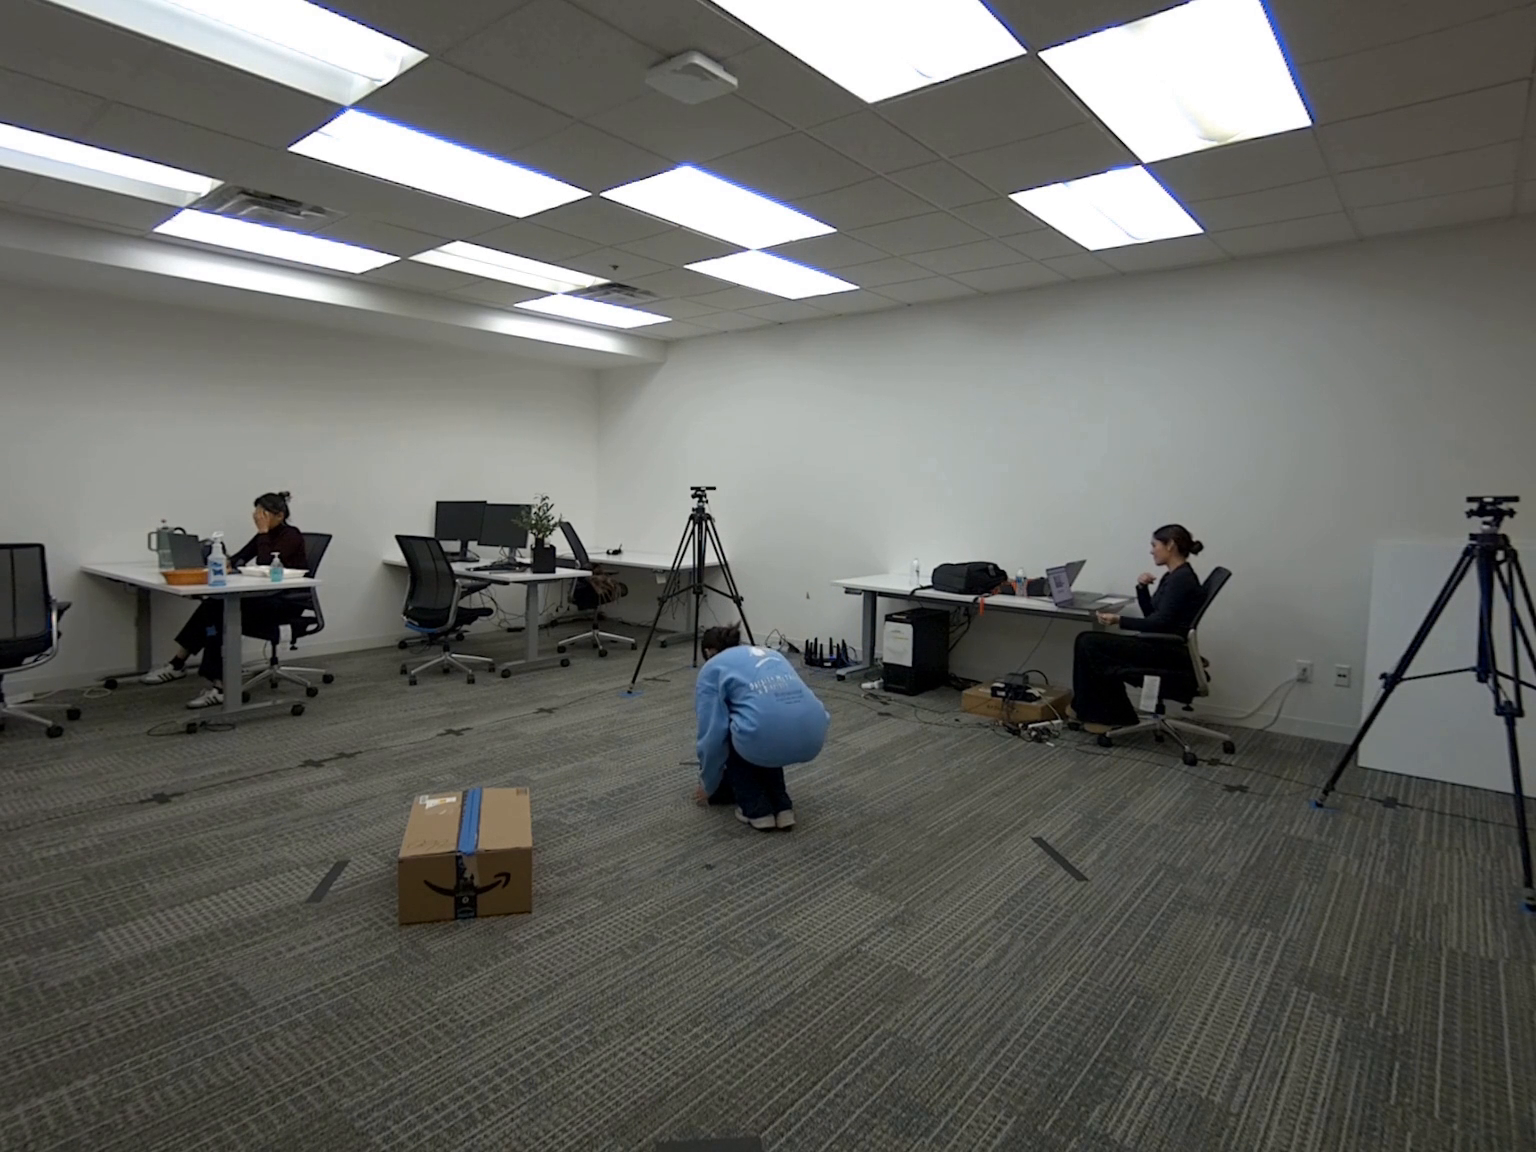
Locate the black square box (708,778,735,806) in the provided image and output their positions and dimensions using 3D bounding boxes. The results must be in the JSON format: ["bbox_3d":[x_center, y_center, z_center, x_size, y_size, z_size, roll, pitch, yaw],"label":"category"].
[{"bbox_3d":[-0.193,0.902,3.858,0.214,0.155,0.232,0,4,-15],"label":"black square box"}]
